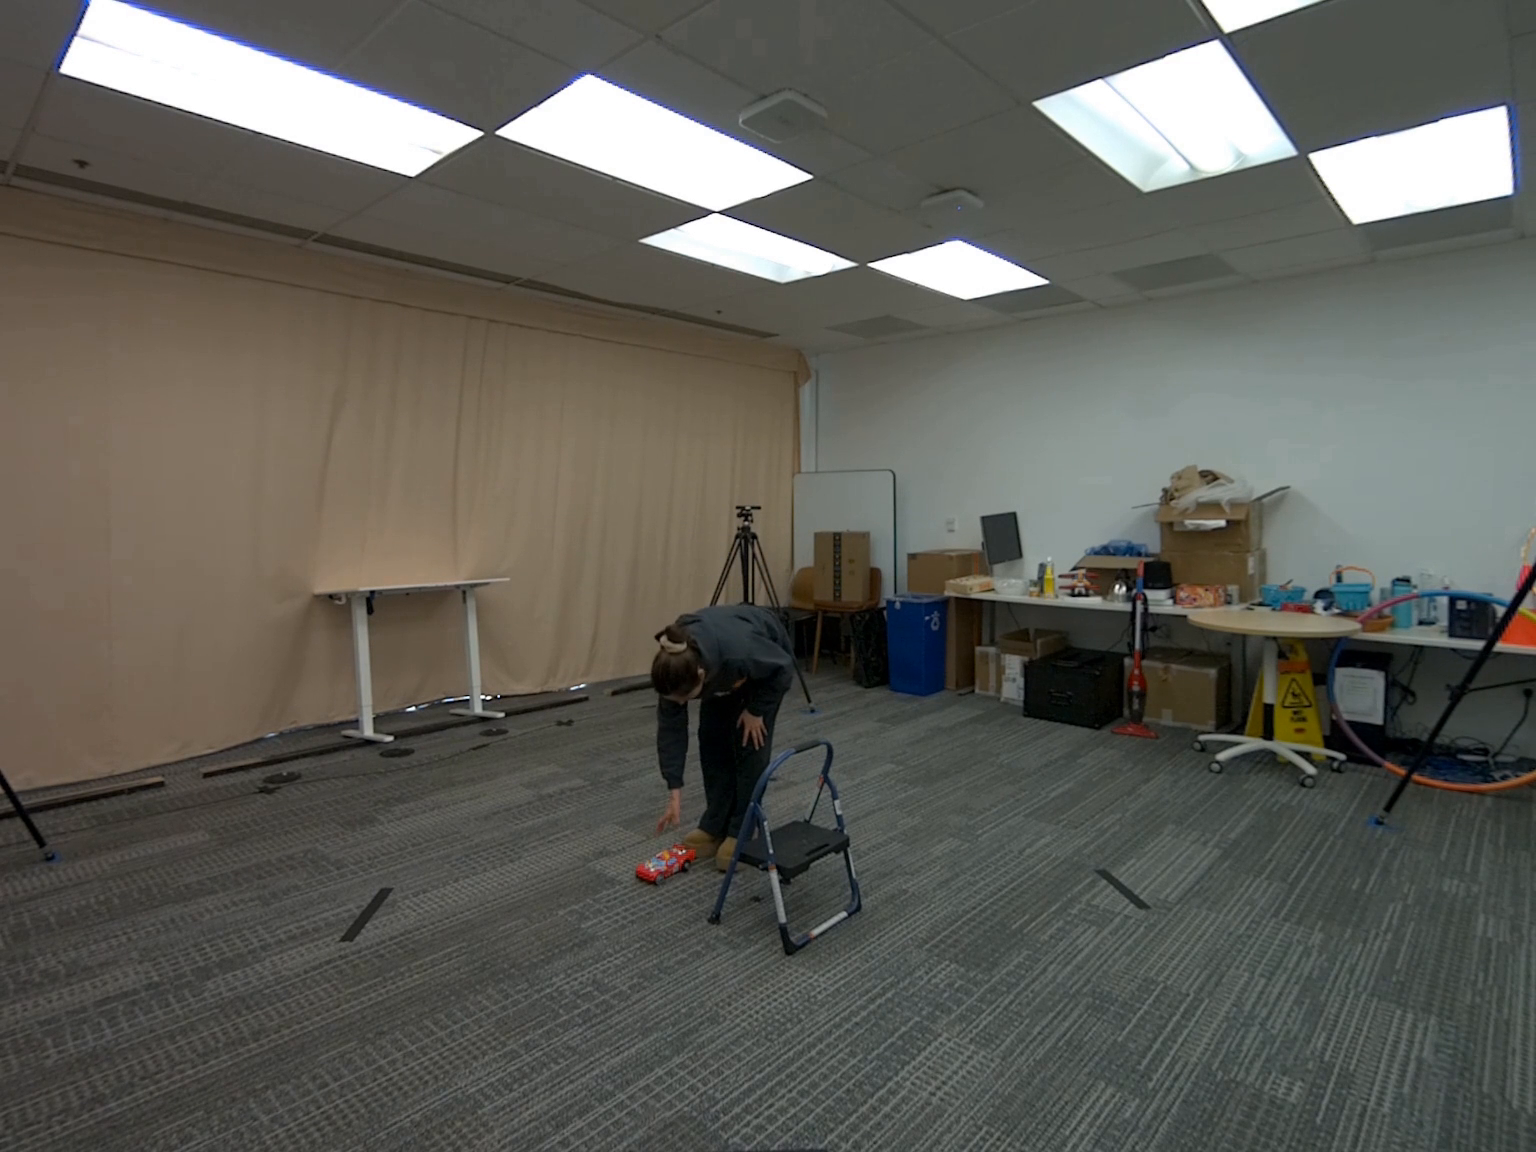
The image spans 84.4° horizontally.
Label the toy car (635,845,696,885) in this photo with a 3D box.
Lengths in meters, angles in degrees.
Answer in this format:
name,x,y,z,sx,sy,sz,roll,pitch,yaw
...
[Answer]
name,x,y,z,sx,sy,sz,roll,pitch,yaw
toy car,-0.360,1.097,3.206,0.134,0.082,0.249,1,16,40
